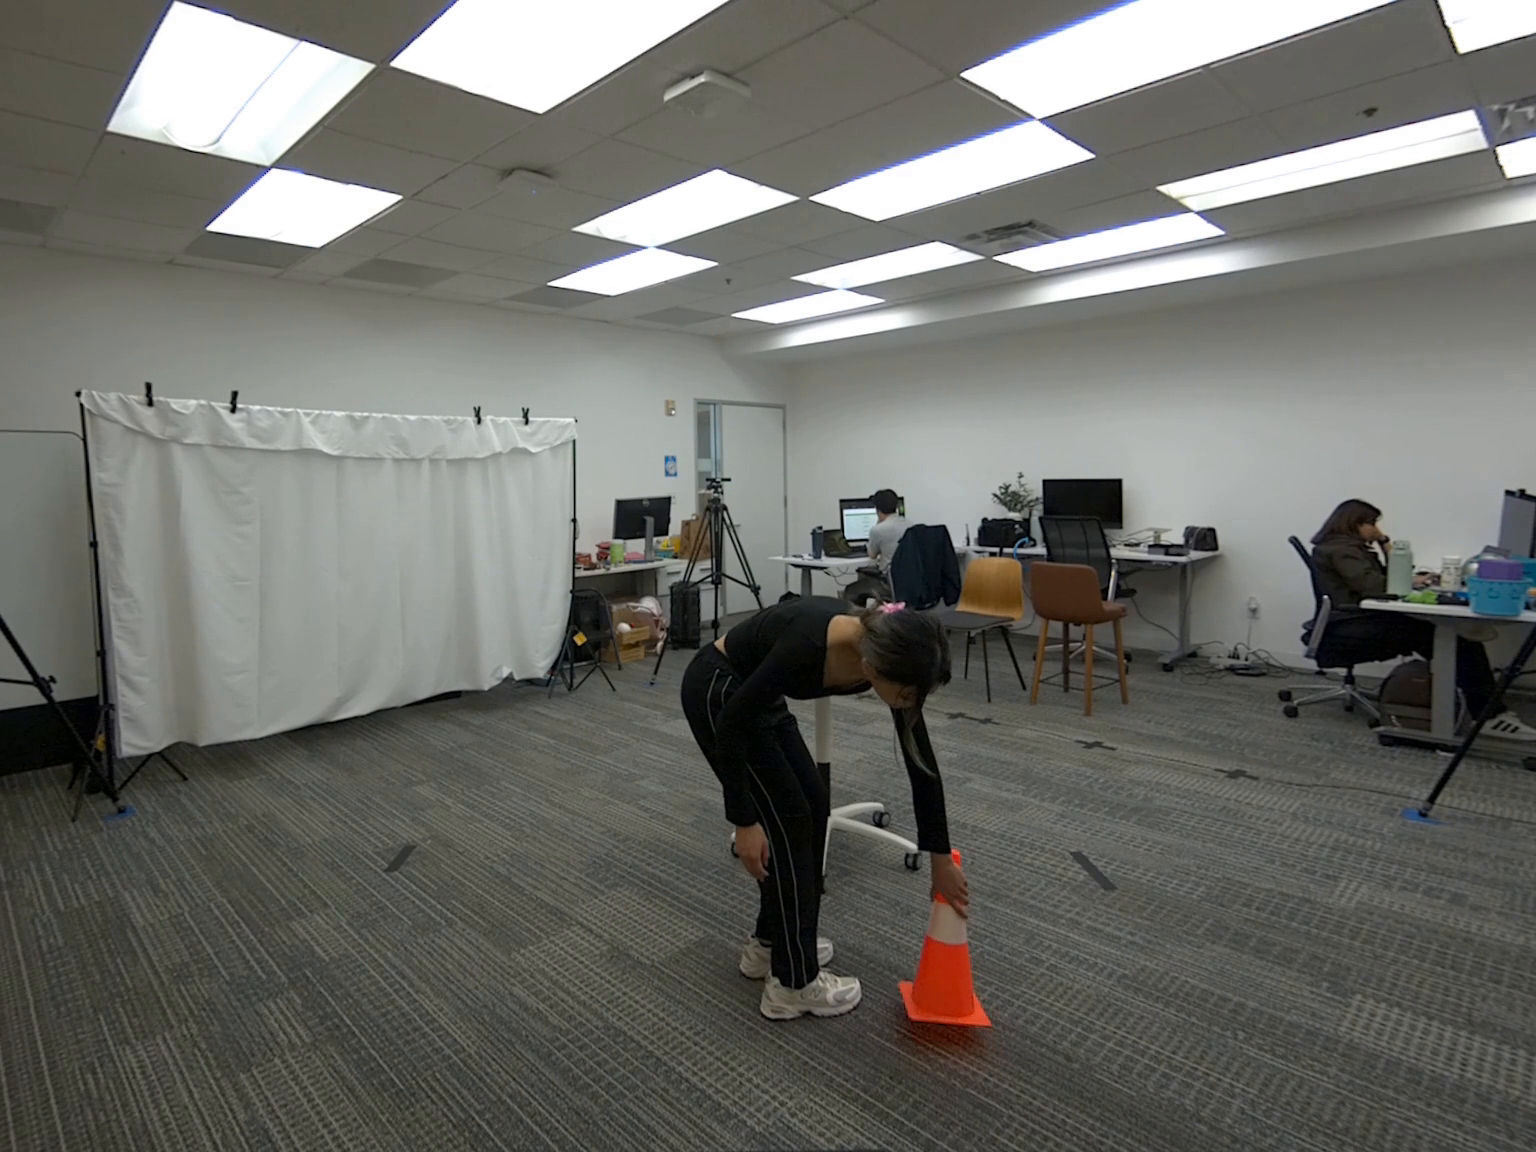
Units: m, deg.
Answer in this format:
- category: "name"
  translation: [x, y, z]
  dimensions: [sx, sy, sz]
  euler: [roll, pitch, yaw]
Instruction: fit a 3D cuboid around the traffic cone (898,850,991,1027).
- category: "traffic cone"
  translation: [0.454, 0.884, 2.185]
  dimensions: [0.204, 0.385, 0.203]
  euler: [1, -4, 2]
